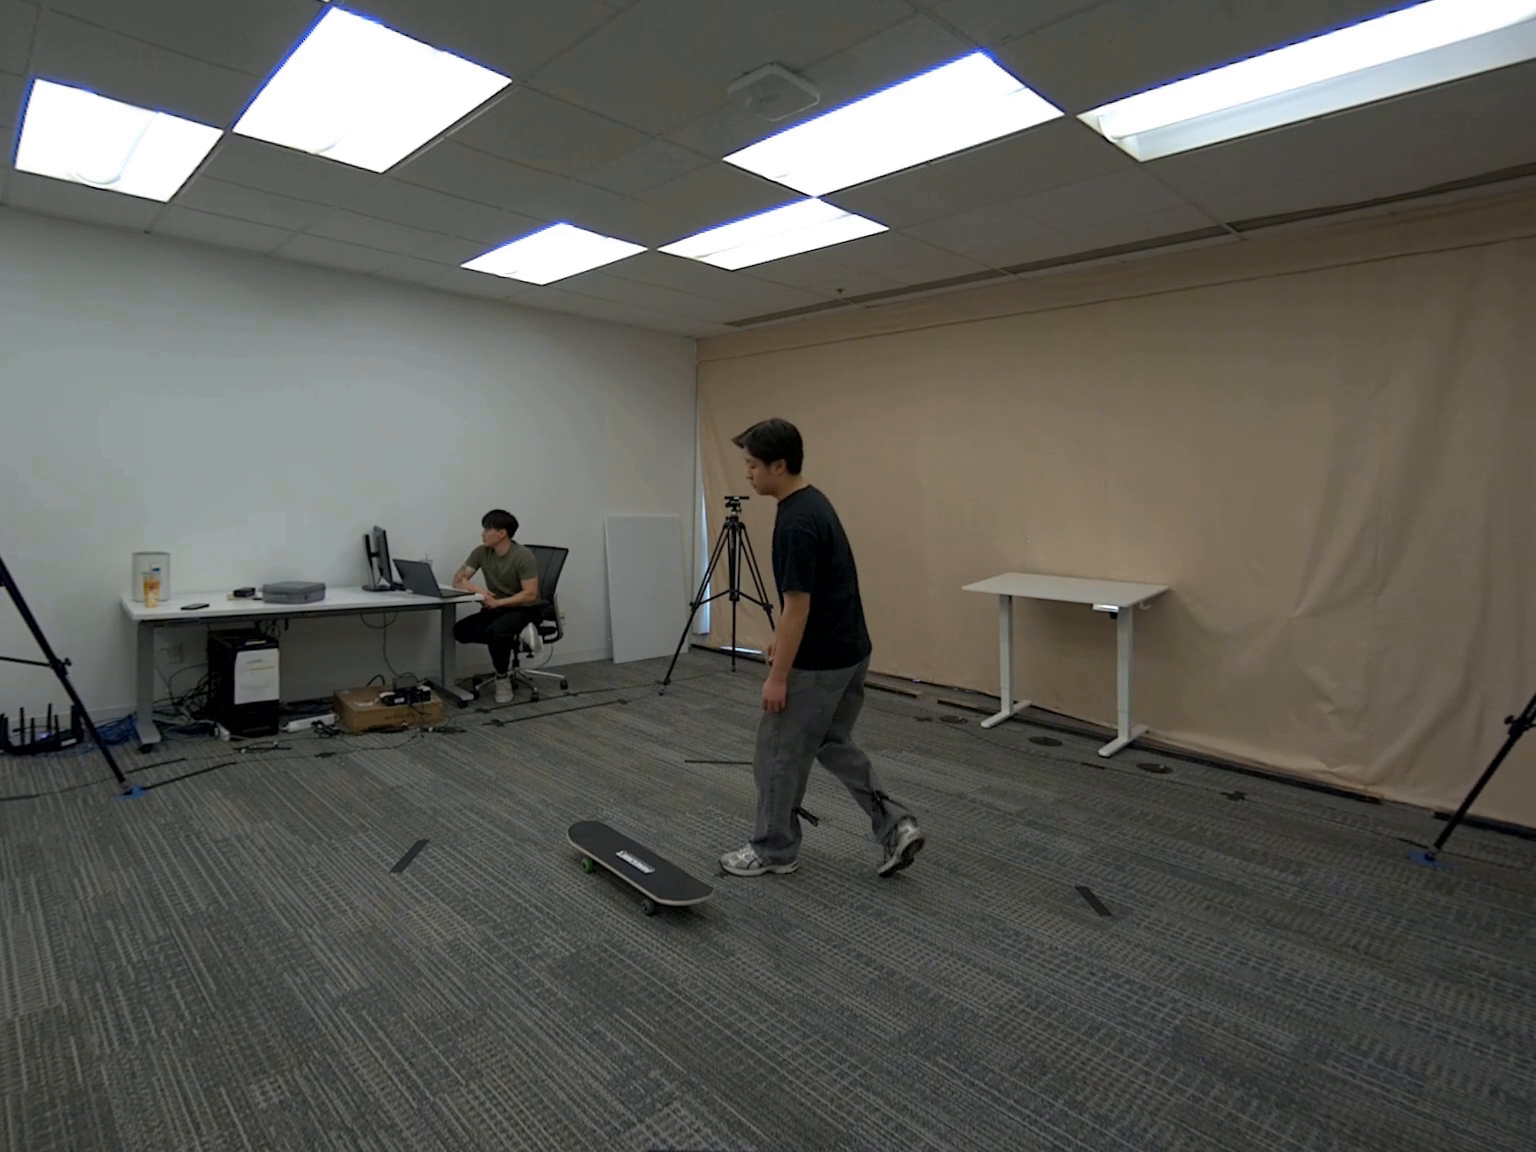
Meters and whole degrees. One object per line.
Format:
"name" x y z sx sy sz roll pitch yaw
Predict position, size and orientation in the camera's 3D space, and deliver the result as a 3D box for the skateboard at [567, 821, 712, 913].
"skateboard" -0.483 1.052 3.001 0.189 0.110 0.806 -3 7 -41
